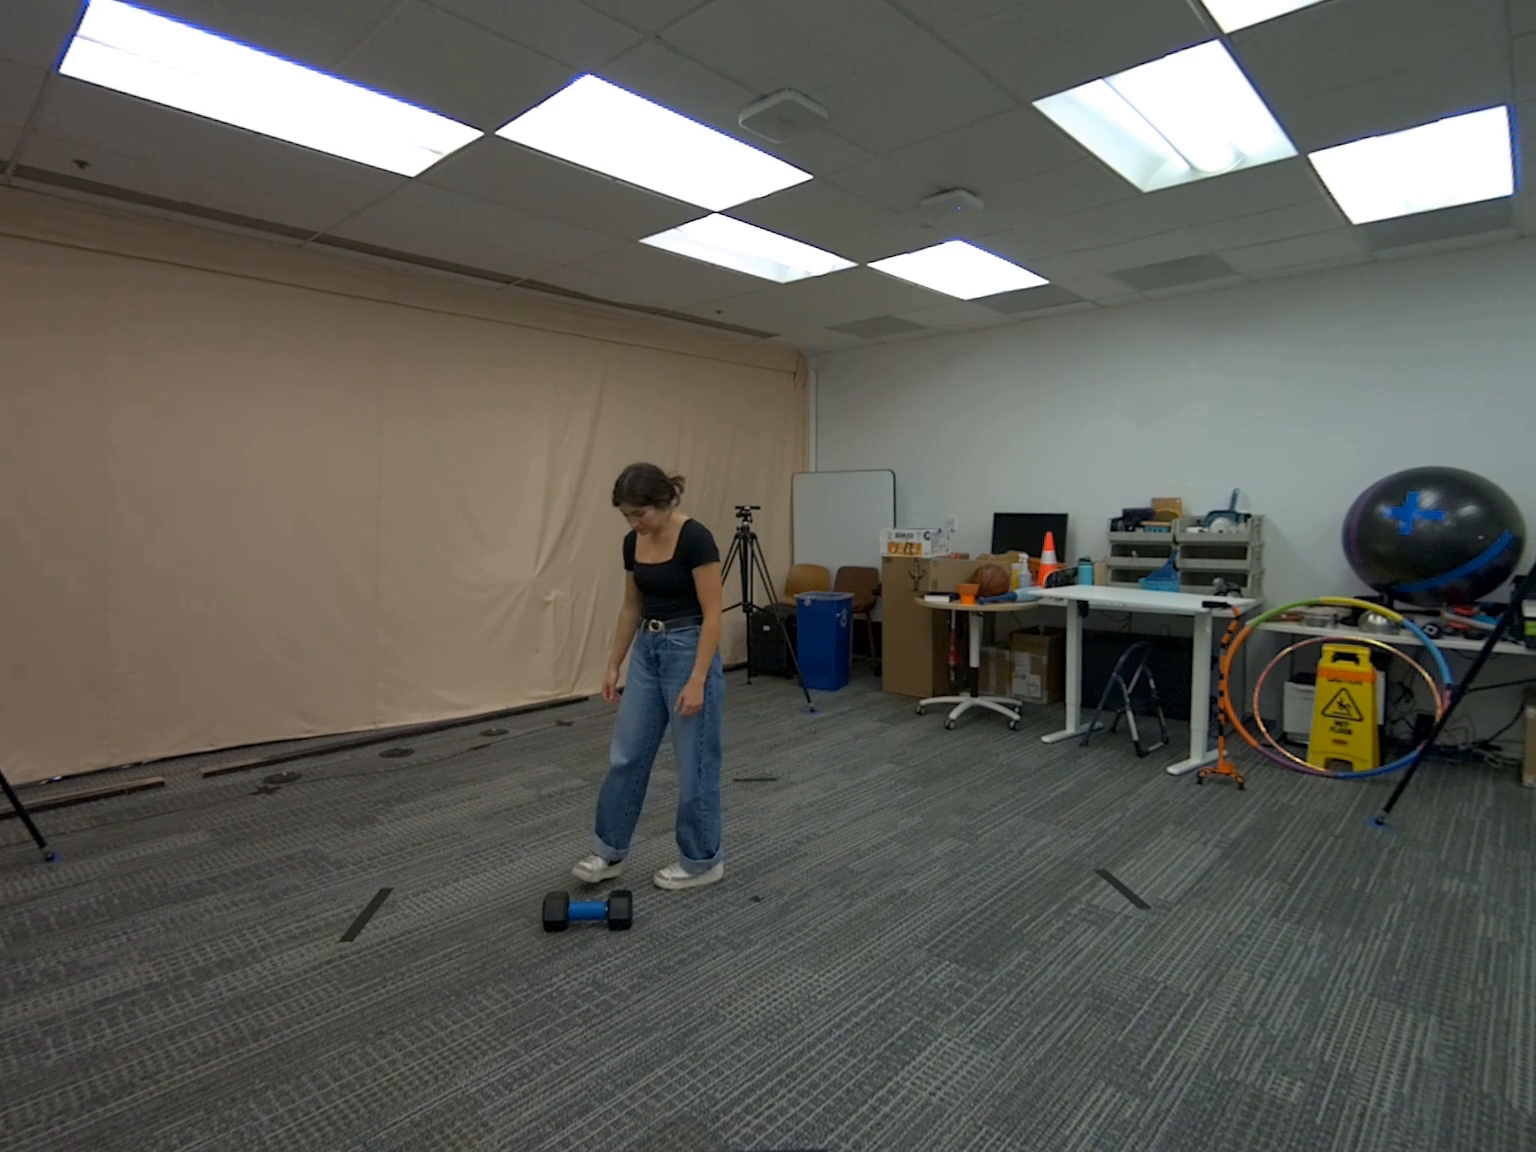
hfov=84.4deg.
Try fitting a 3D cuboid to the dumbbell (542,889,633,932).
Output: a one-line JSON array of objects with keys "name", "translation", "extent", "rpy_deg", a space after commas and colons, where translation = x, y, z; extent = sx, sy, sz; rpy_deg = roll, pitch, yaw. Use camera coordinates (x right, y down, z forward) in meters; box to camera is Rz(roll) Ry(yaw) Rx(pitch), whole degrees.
[{"name": "dumbbell", "translation": [-0.598, 1.114, 2.788], "extent": [0.293, 0.125, 0.107], "rpy_deg": [-1, -26, -2]}]
